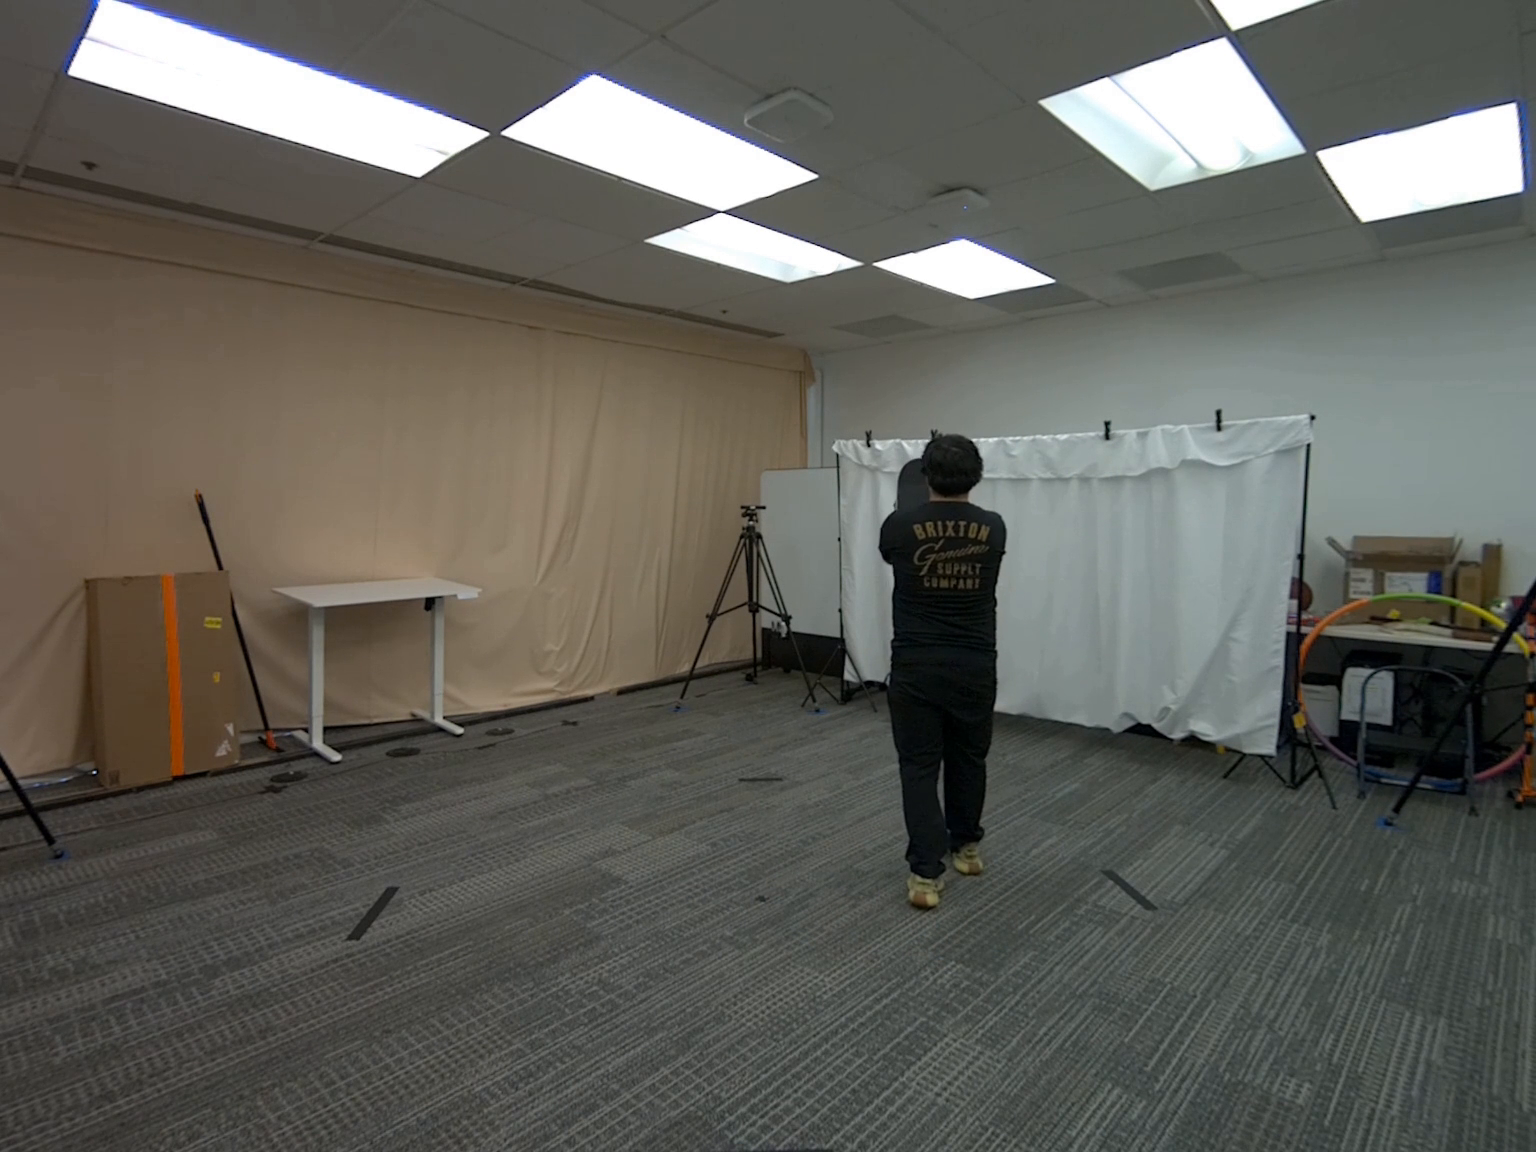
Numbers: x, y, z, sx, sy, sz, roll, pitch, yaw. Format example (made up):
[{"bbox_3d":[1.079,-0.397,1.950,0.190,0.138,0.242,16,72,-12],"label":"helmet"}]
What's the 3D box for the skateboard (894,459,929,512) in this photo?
[{"bbox_3d":[0.651,-0.116,3.649,0.194,0.789,0.109,2,-9,0],"label":"skateboard"}]
